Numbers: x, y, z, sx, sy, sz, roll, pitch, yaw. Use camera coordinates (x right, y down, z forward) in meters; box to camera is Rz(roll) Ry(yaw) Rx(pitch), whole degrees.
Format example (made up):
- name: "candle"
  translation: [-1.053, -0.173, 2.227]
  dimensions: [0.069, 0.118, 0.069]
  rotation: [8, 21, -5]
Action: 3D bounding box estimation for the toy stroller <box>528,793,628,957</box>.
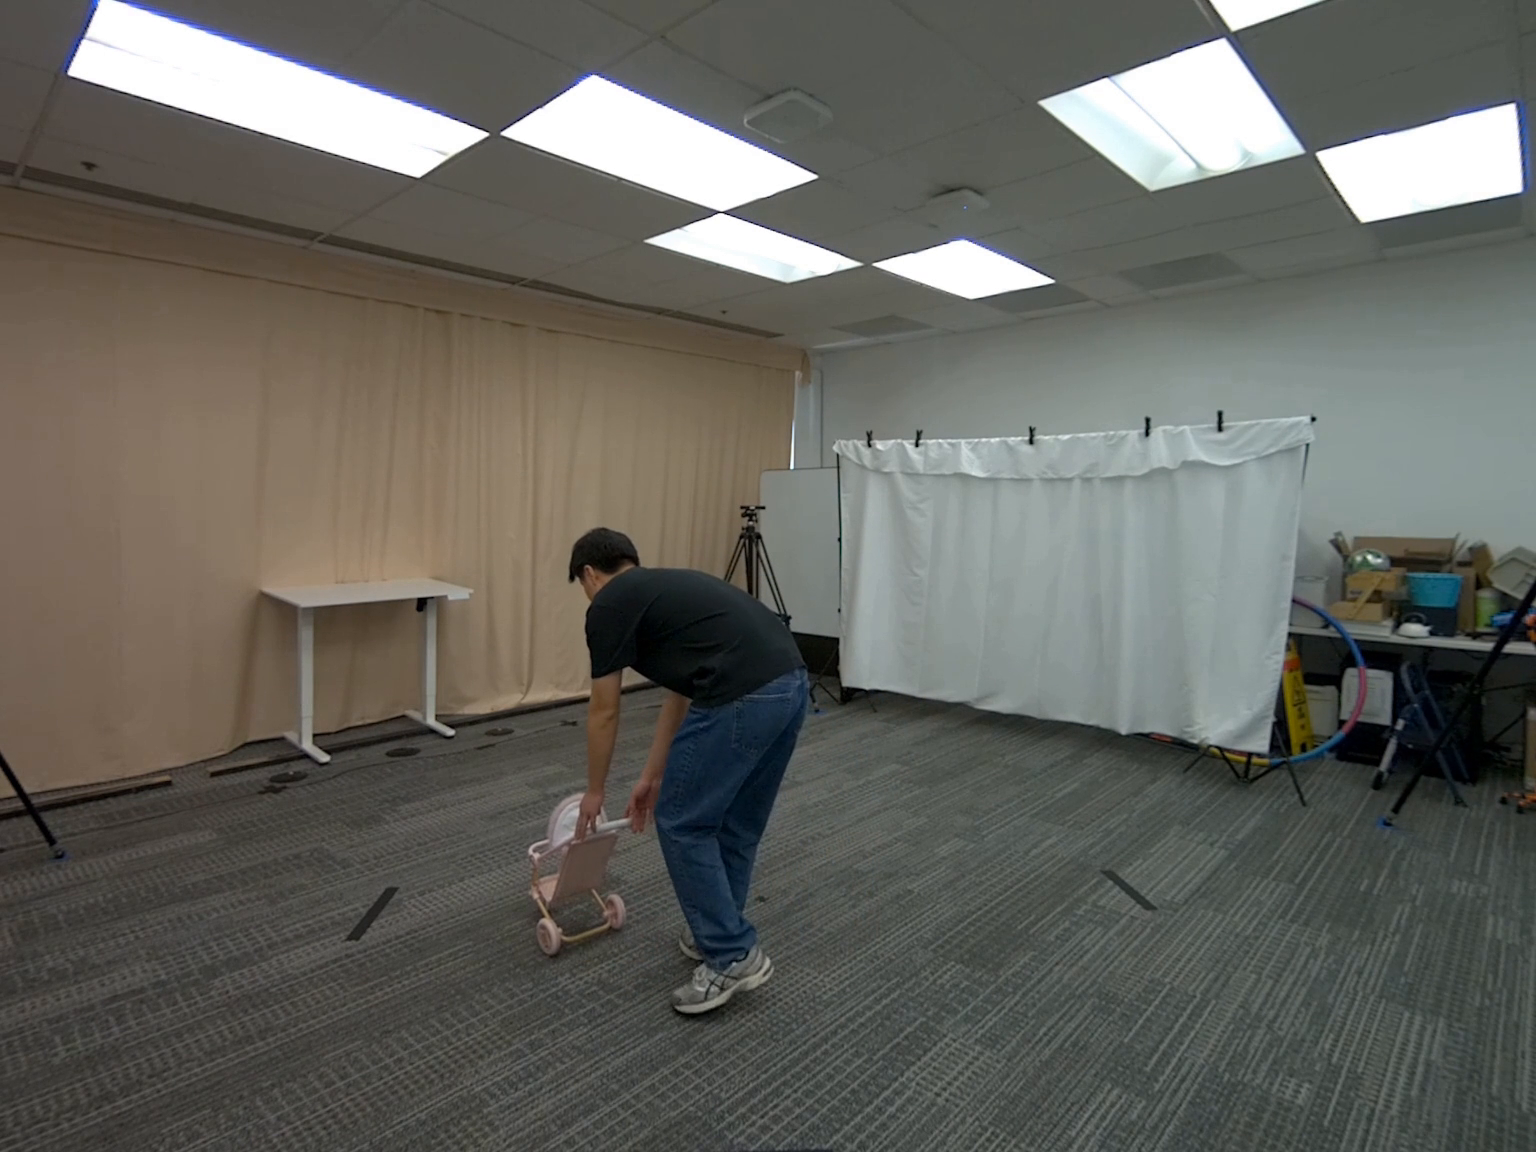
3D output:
- name: "toy stroller"
  translation: [-0.632, 0.945, 2.743]
  dimensions: [0.273, 0.531, 0.354]
  rotation: [-1, 20, -38]
